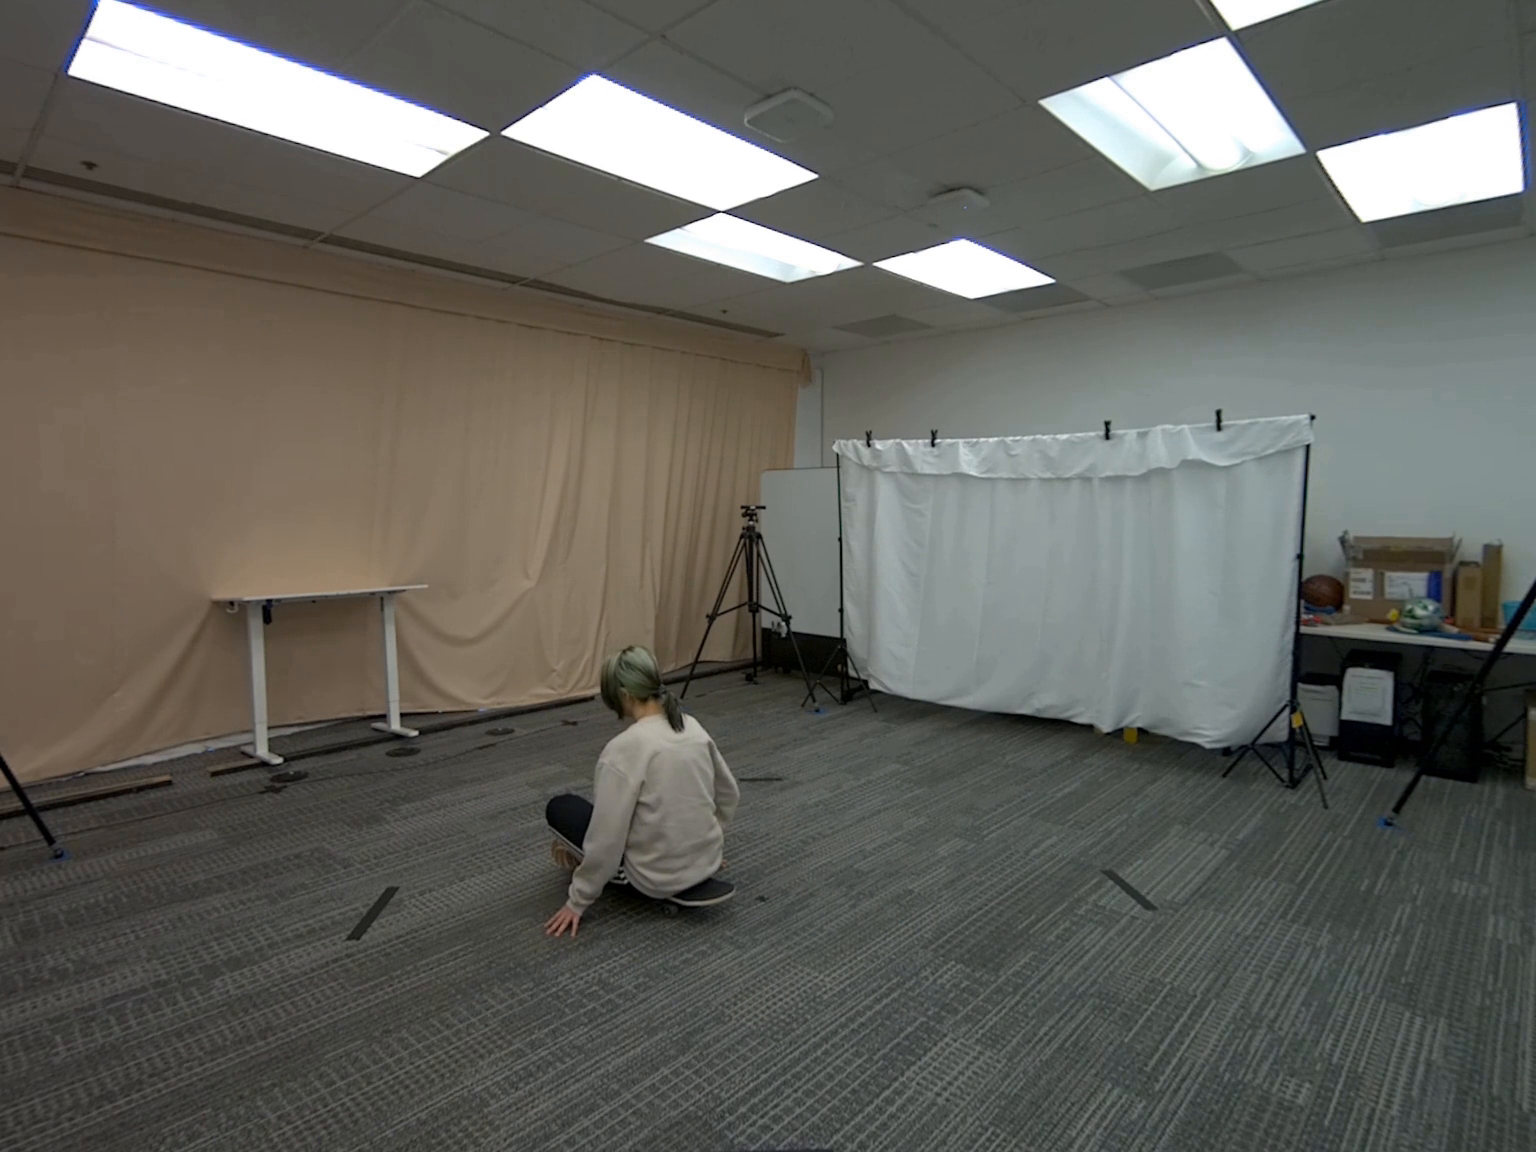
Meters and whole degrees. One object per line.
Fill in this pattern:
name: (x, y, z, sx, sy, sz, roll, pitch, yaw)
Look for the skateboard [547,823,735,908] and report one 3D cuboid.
skateboard: (-0.453, 1.091, 3.036, 0.809, 0.110, 0.188, 3, 8, 32)
